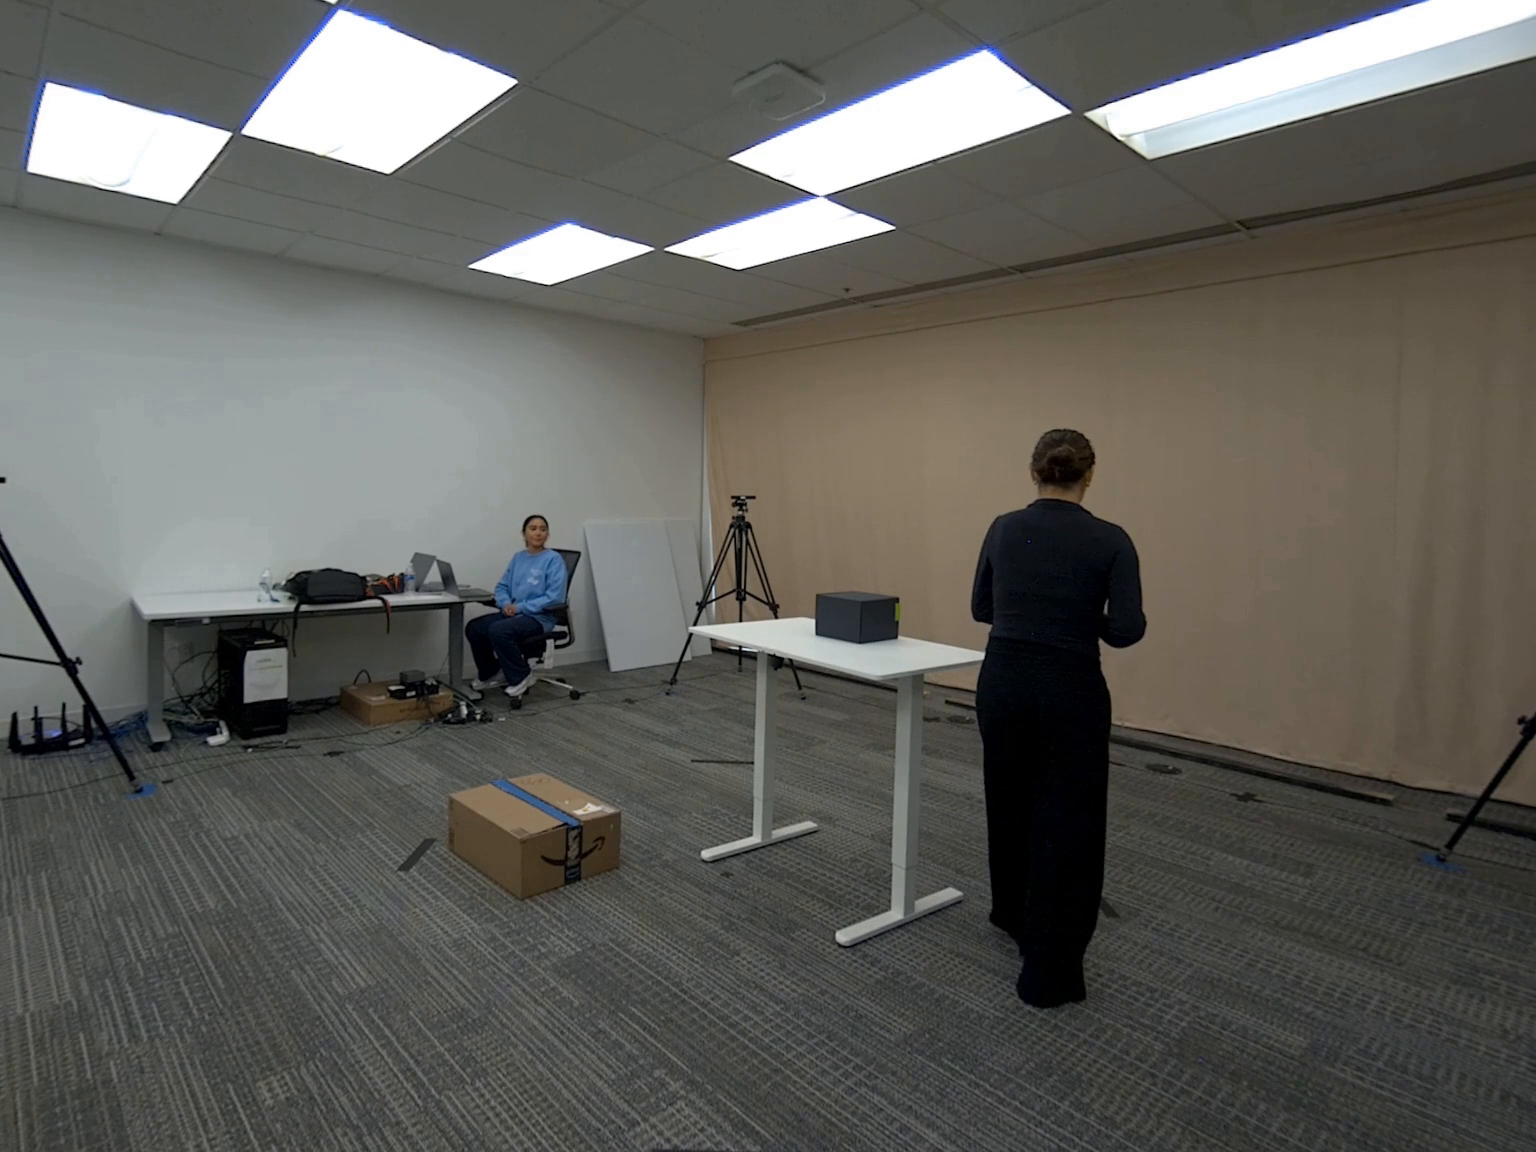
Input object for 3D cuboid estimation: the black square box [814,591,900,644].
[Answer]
[{"bbox_3d":[0.325,0.151,3.132,0.212,0.155,0.234,-3,6,-41],"label":"black square box"}]
